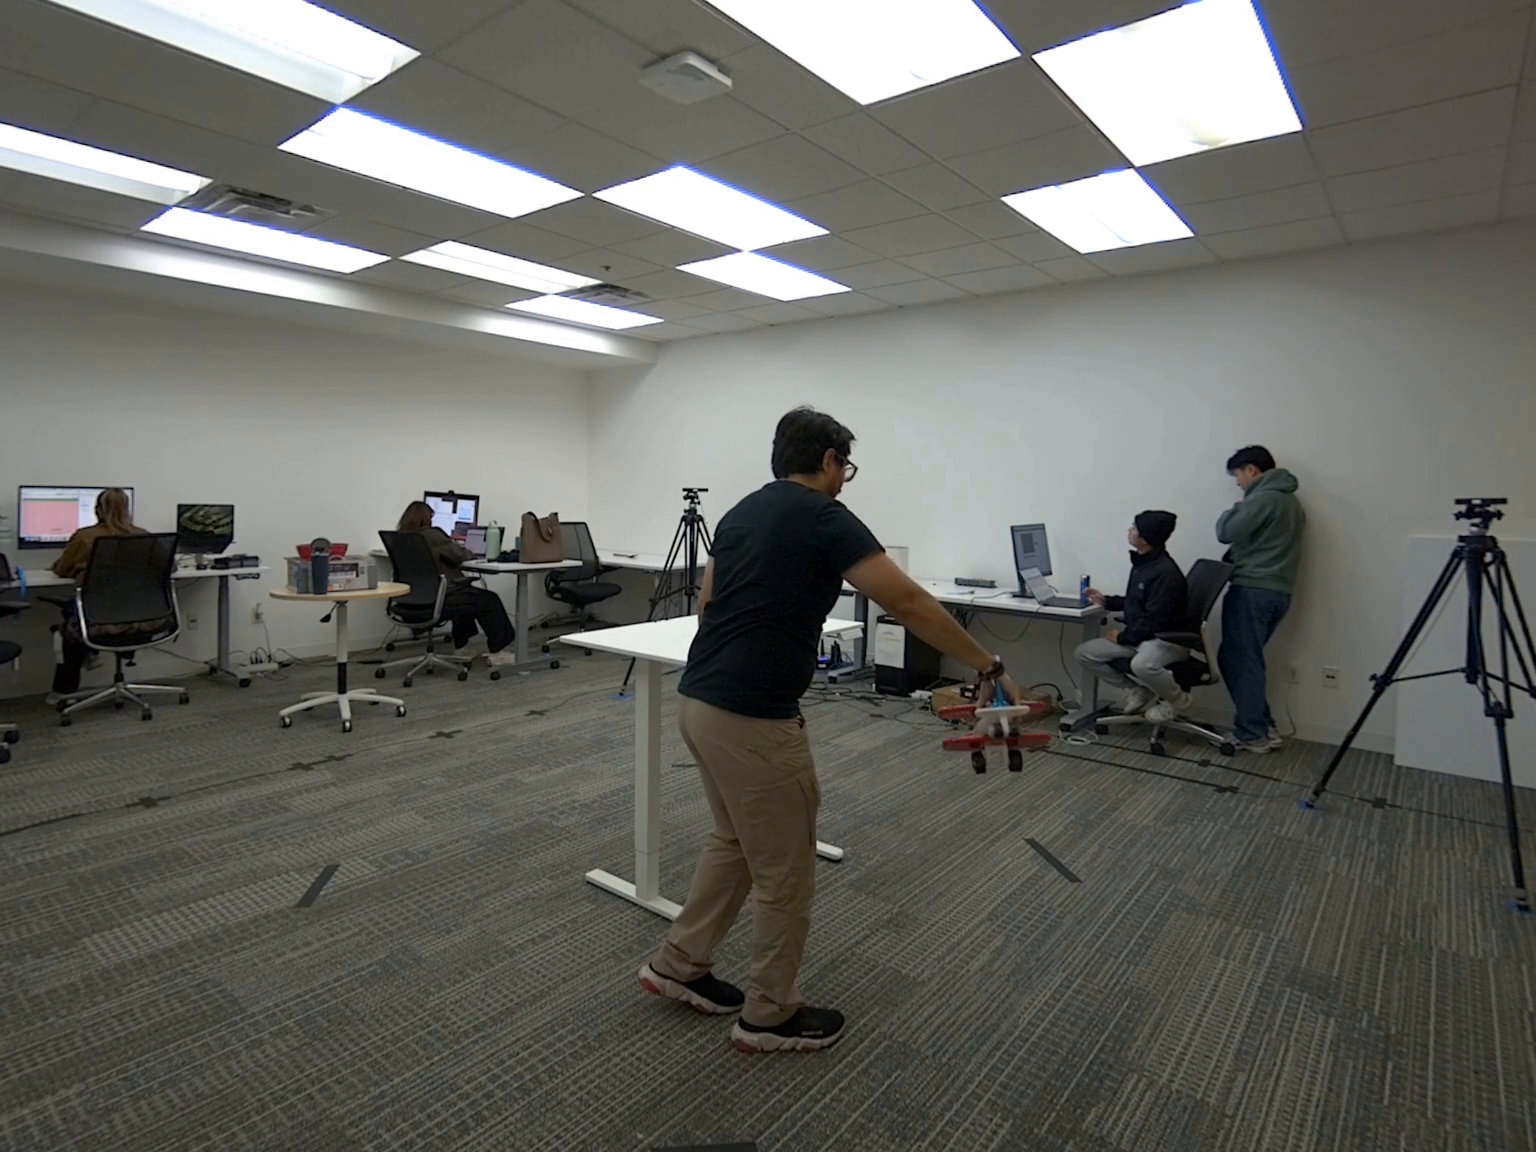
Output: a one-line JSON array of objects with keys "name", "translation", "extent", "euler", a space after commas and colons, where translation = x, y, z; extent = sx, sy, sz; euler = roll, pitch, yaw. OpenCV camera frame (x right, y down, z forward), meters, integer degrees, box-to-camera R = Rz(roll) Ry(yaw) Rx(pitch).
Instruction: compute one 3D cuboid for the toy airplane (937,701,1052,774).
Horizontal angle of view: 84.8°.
[{"name": "toy airplane", "translation": [0.553, 0.361, 2.023], "extent": [0.246, 0.161, 0.257], "euler": [13, -41, -19]}]
